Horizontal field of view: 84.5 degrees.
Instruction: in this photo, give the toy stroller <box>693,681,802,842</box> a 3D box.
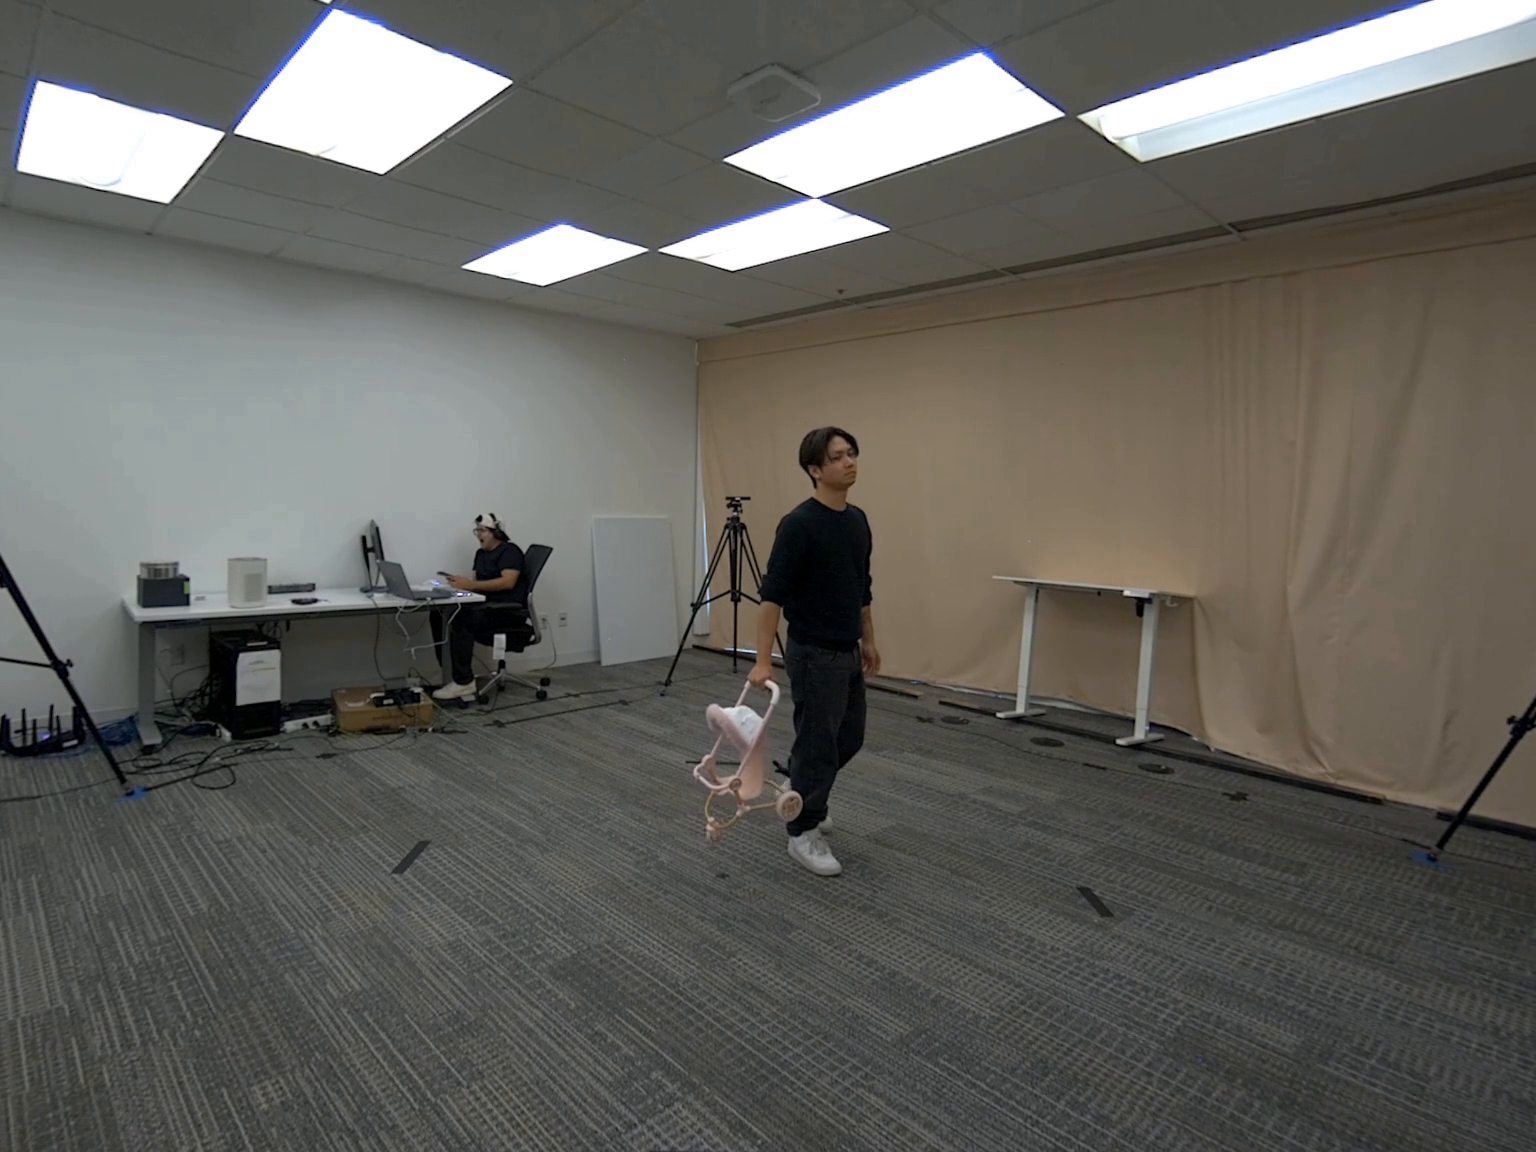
[{"bbox_3d":[-0.113,0.663,2.974,0.337,0.528,0.288,-14,16,-24],"label":"toy stroller"}]
